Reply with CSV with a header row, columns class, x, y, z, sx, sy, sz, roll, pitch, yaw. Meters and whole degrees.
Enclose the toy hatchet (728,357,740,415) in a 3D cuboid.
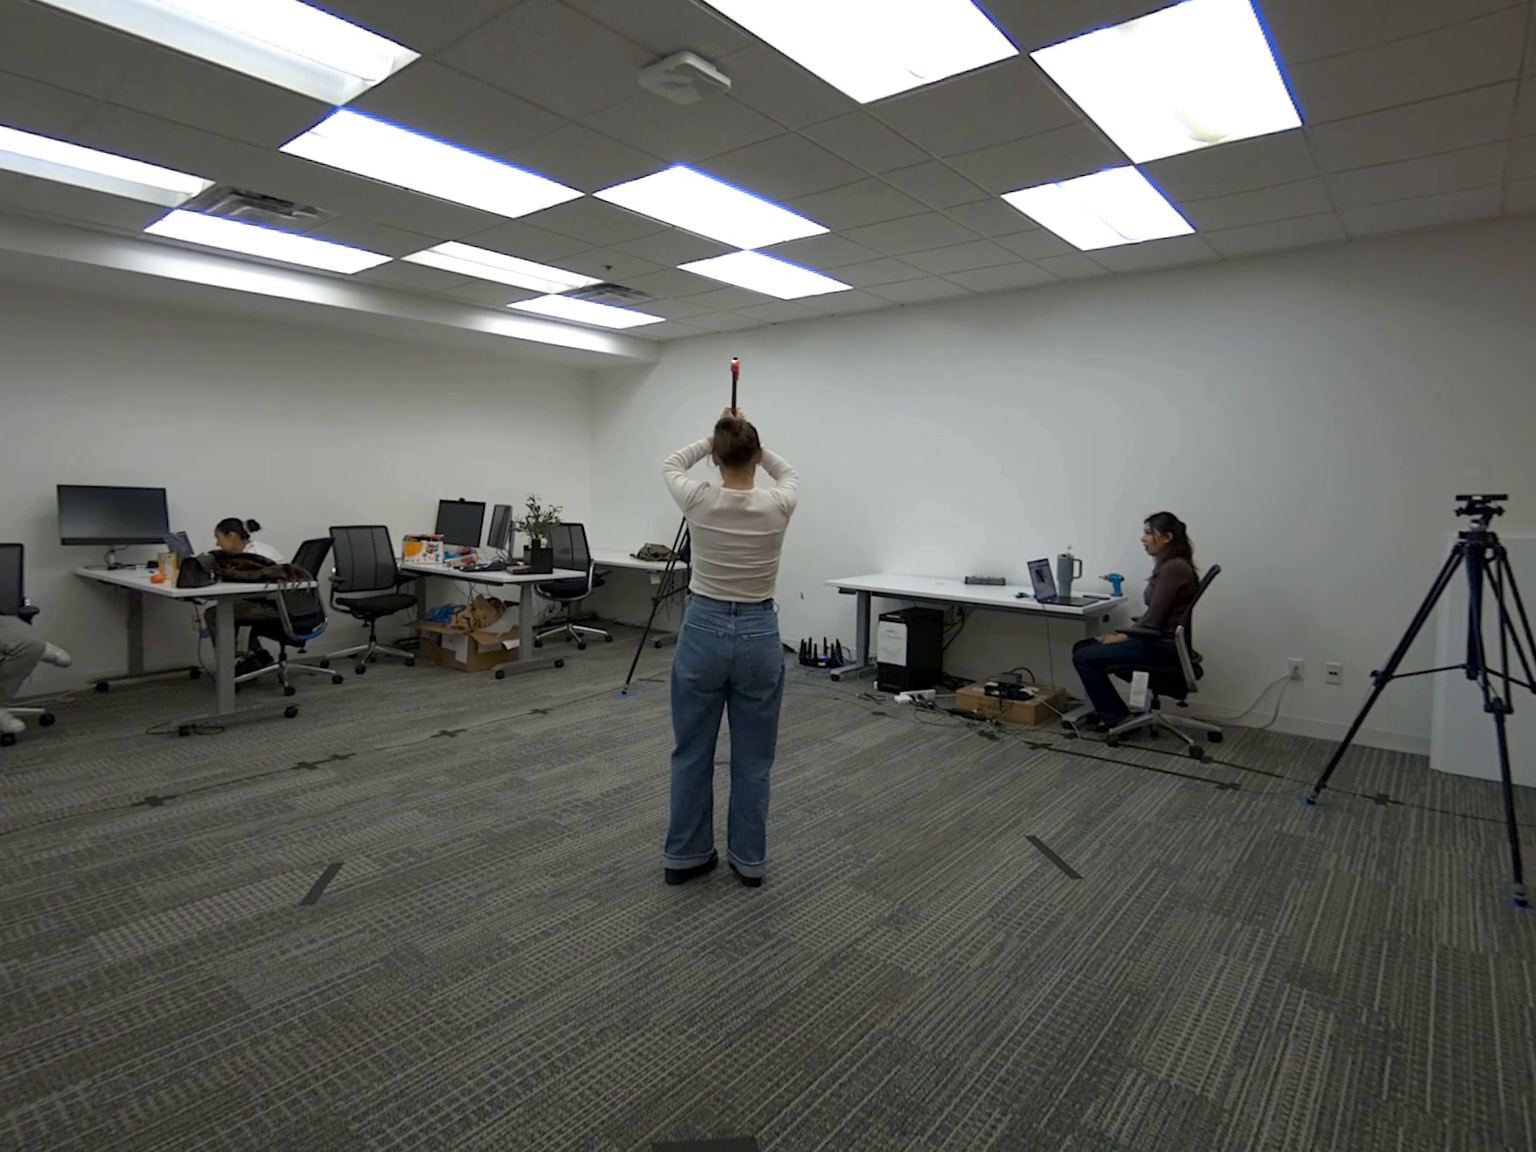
class,x,y,z,sx,sy,sz,roll,pitch,yaw
toy hatchet,-0.140,-0.679,3.143,0.029,0.265,0.134,5,25,-6
